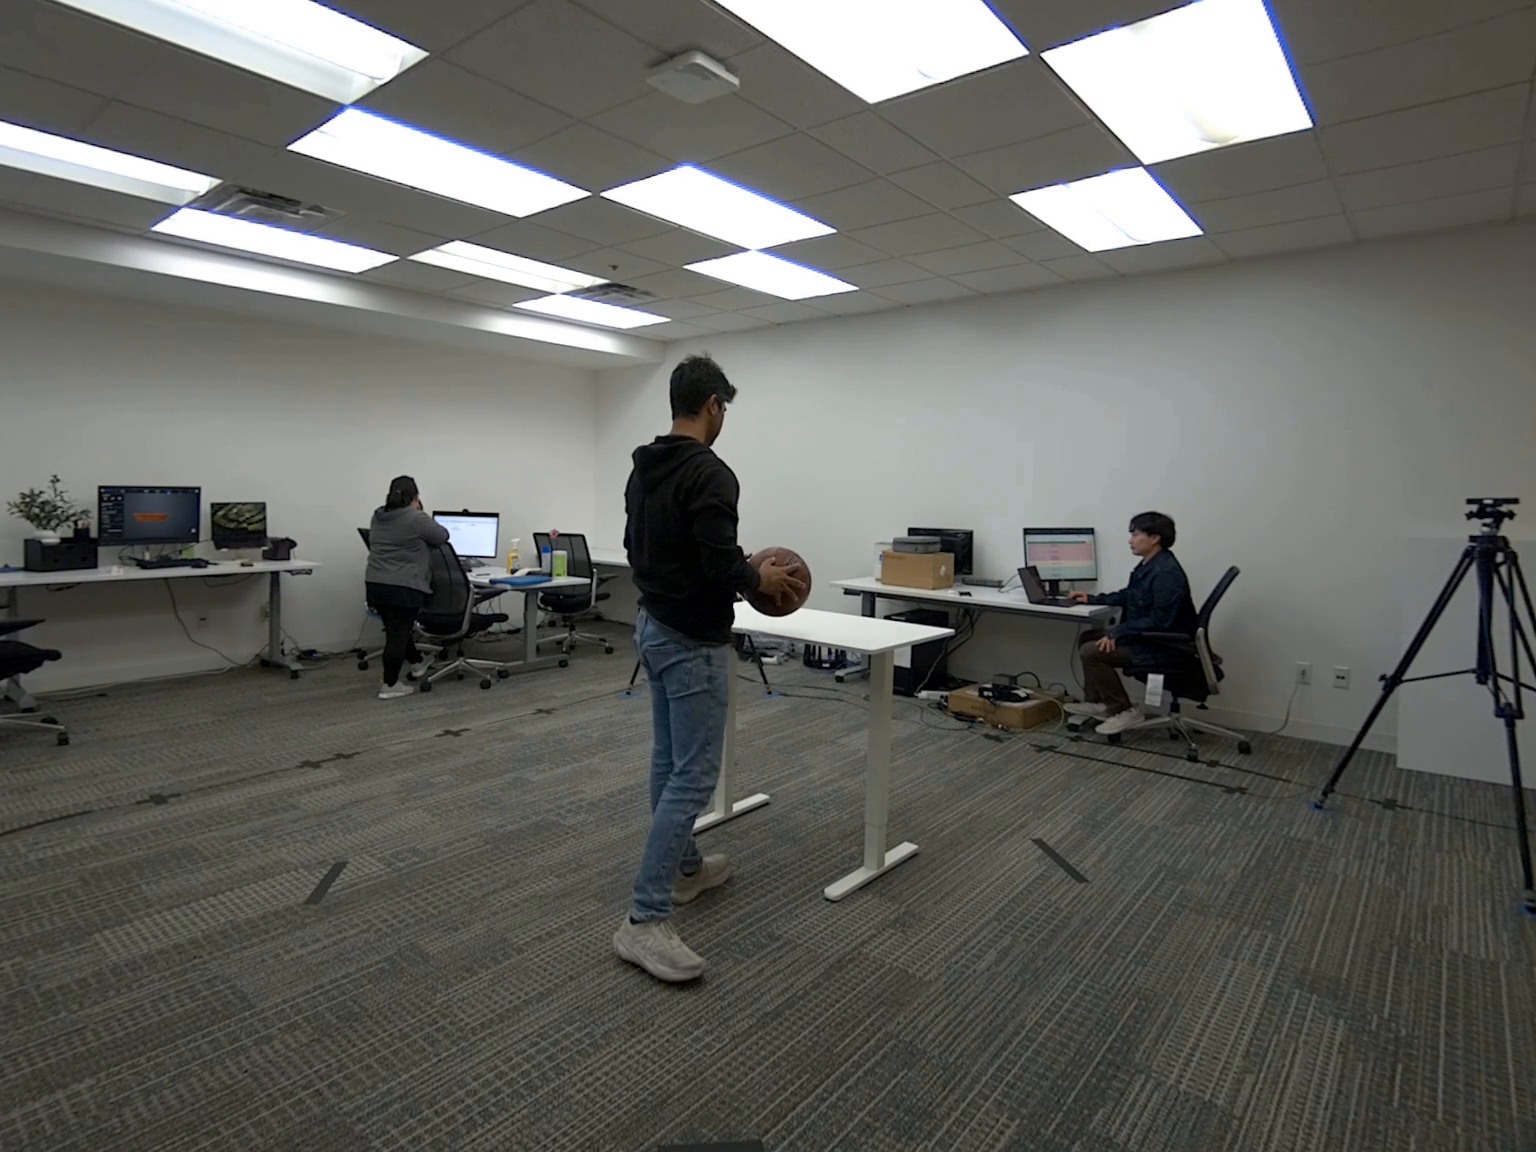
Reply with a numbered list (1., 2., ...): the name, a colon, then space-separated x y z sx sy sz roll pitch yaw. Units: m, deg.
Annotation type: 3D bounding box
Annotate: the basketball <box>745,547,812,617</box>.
1. basketball: 0.019 0.025 2.894 0.235 0.235 0.237 1 4 -2
